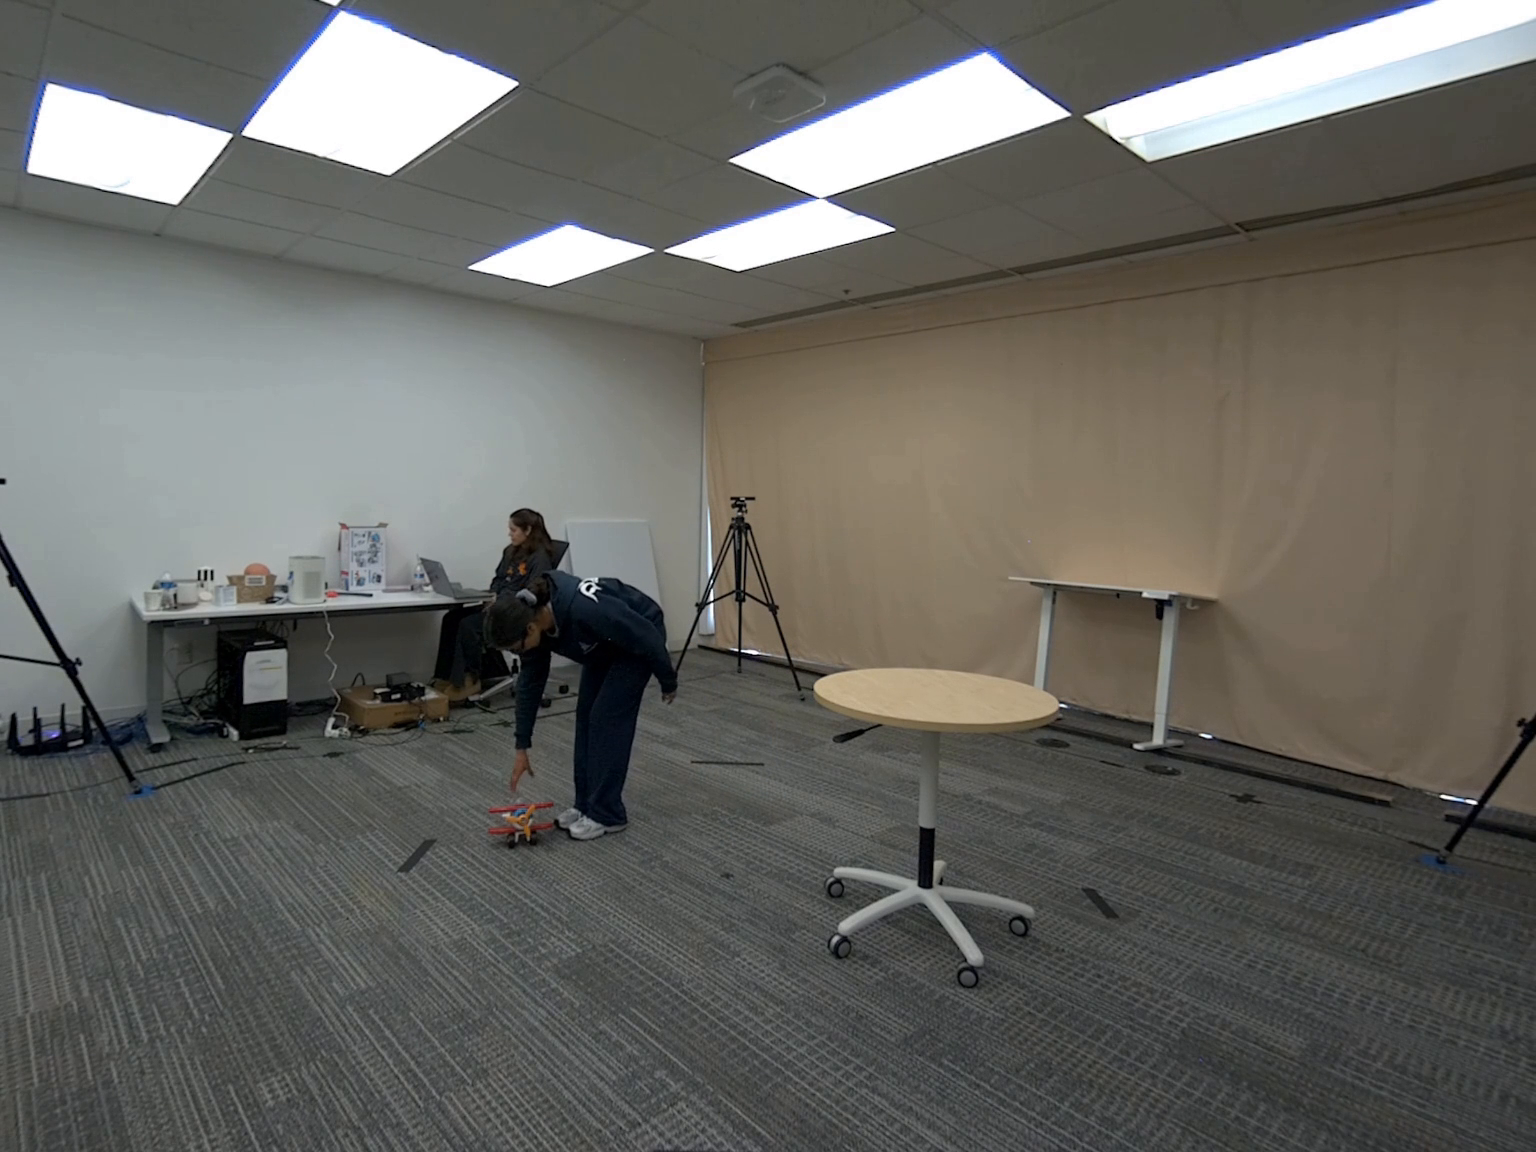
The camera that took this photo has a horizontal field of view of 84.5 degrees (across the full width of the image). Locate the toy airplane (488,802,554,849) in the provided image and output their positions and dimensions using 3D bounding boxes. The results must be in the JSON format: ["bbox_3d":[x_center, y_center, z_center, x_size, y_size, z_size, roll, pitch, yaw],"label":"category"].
[{"bbox_3d":[-1.033,0.988,3.401,0.266,0.156,0.245,7,7,41],"label":"toy airplane"}]
